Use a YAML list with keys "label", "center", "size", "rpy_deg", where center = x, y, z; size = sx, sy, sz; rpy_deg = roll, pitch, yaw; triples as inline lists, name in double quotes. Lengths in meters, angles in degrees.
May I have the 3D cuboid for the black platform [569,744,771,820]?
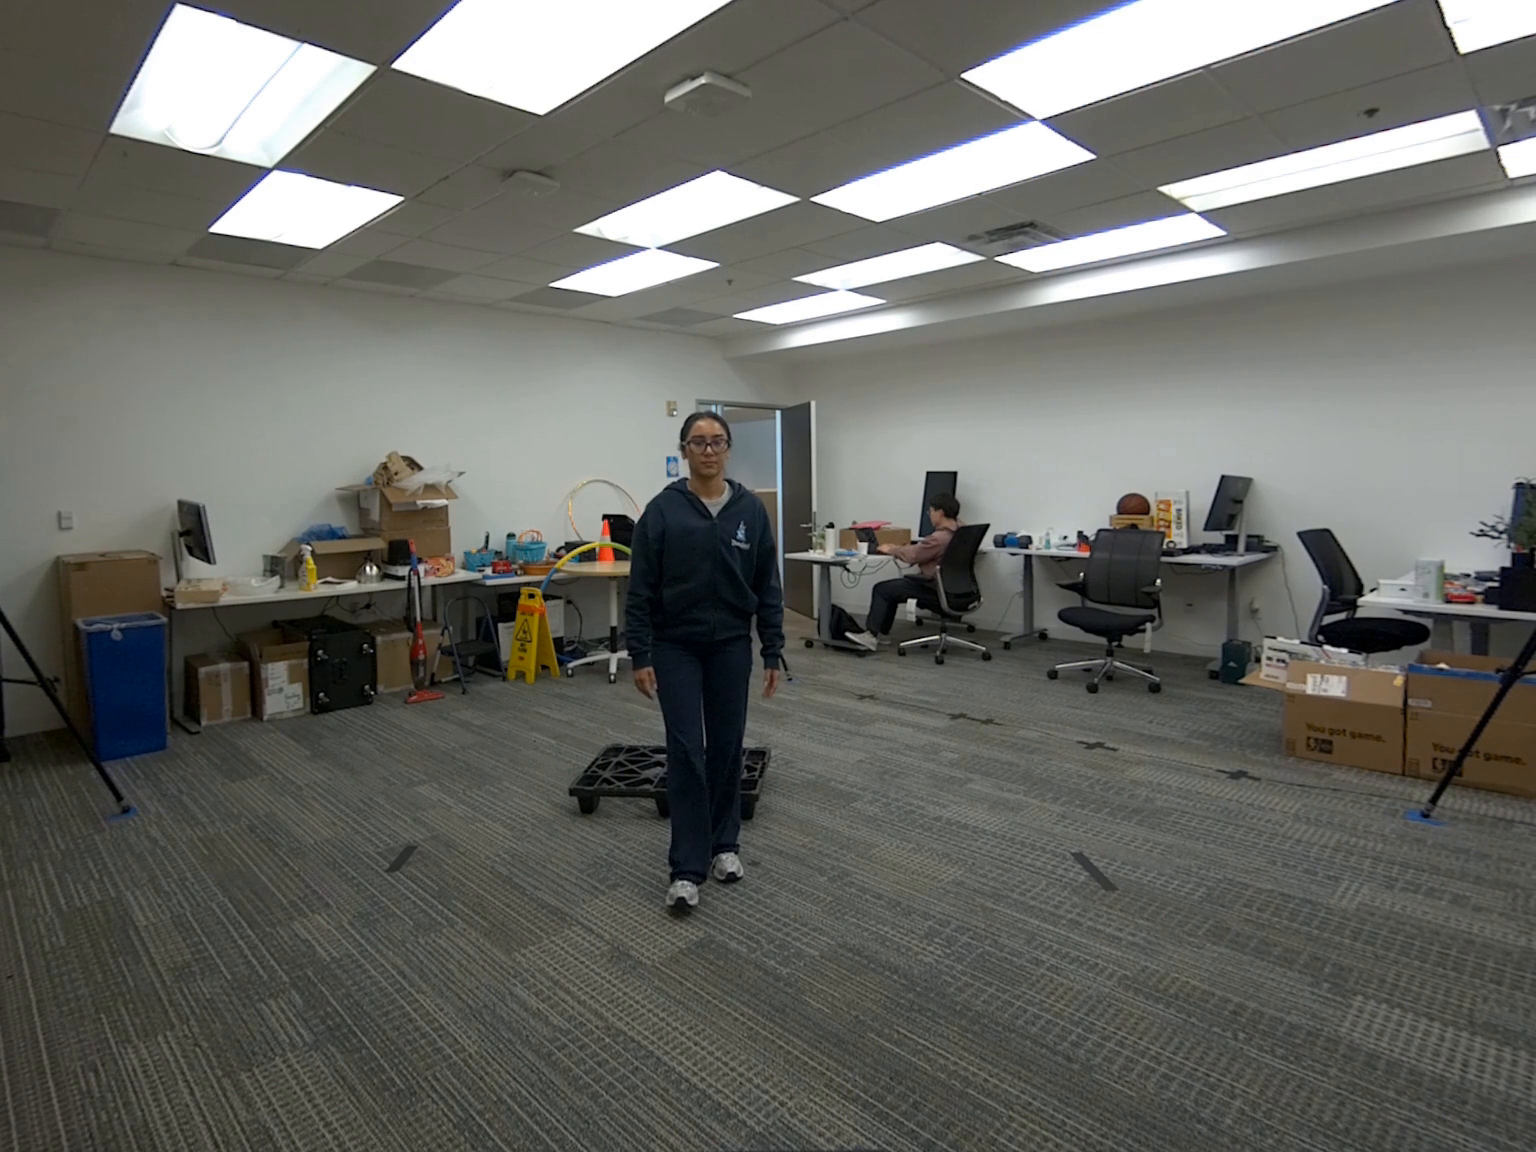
- label: "black platform"
  center: [-0.406, 0.906, 3.785]
  size: [0.812, 0.143, 0.603]
  rpy_deg: [0, 6, 7]
